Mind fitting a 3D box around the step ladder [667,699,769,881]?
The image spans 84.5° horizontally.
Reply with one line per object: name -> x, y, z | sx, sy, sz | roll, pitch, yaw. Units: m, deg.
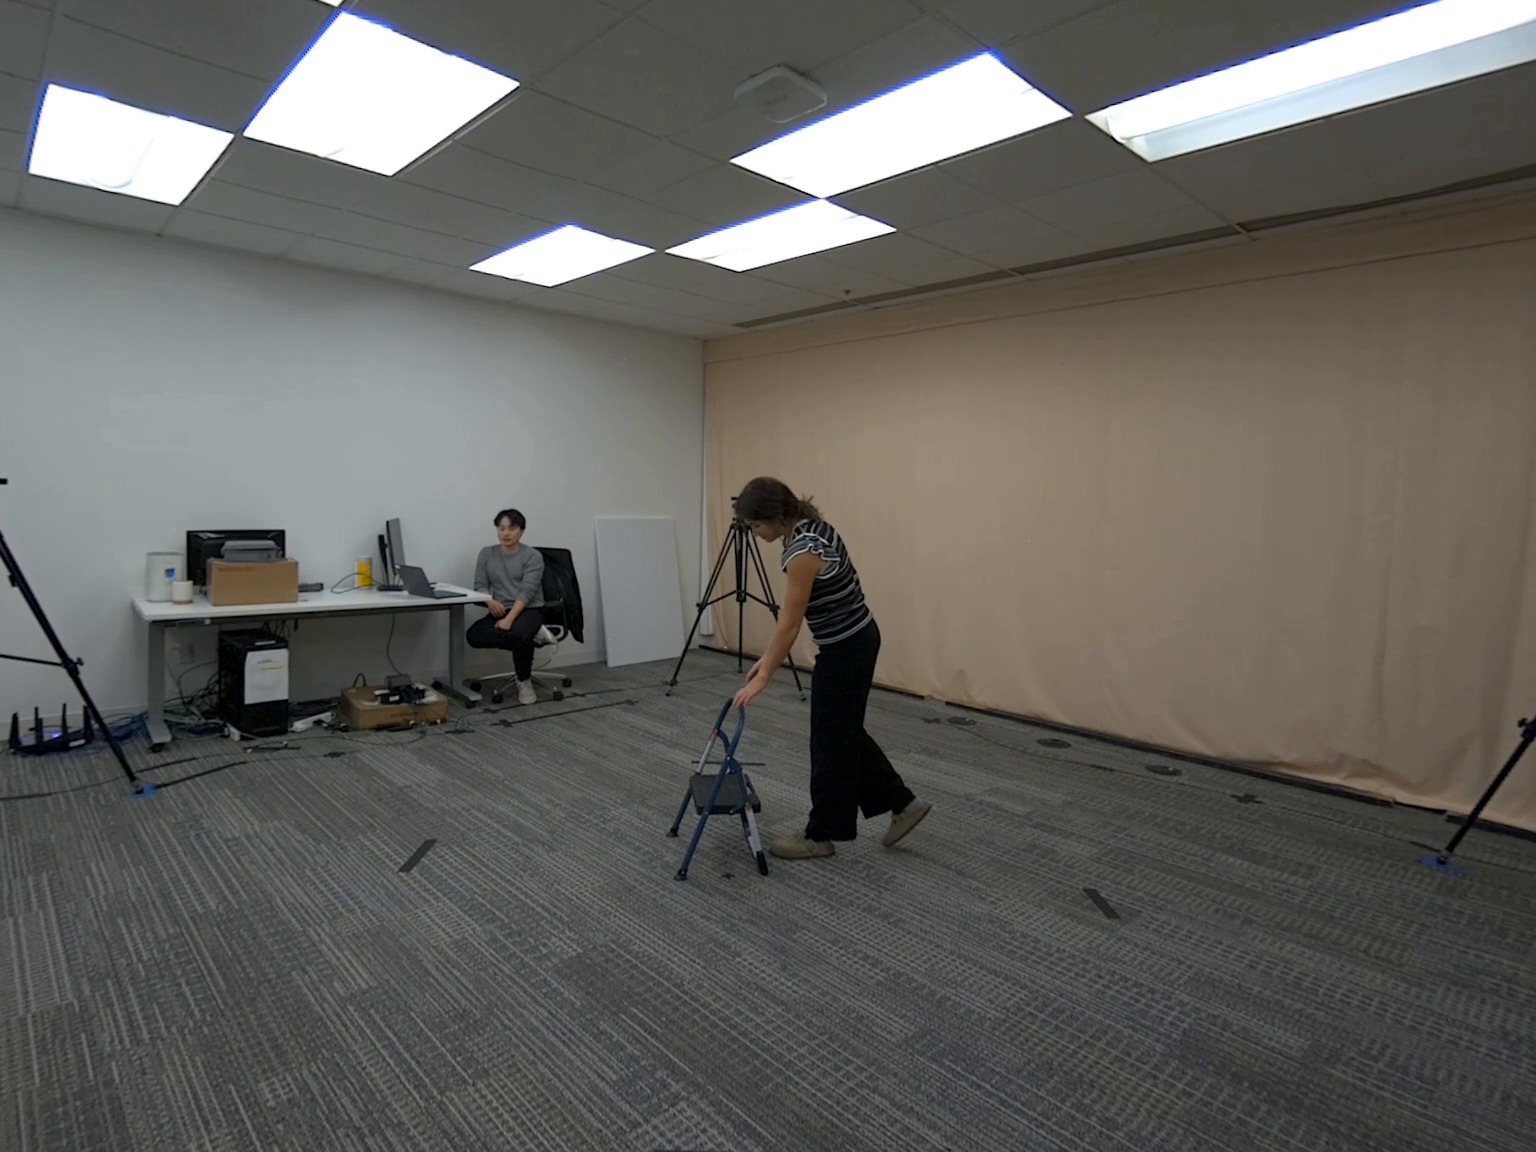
step ladder -> -0.200, 0.789, 3.273 | 0.346, 0.604, 0.435 | 1, 4, -10
